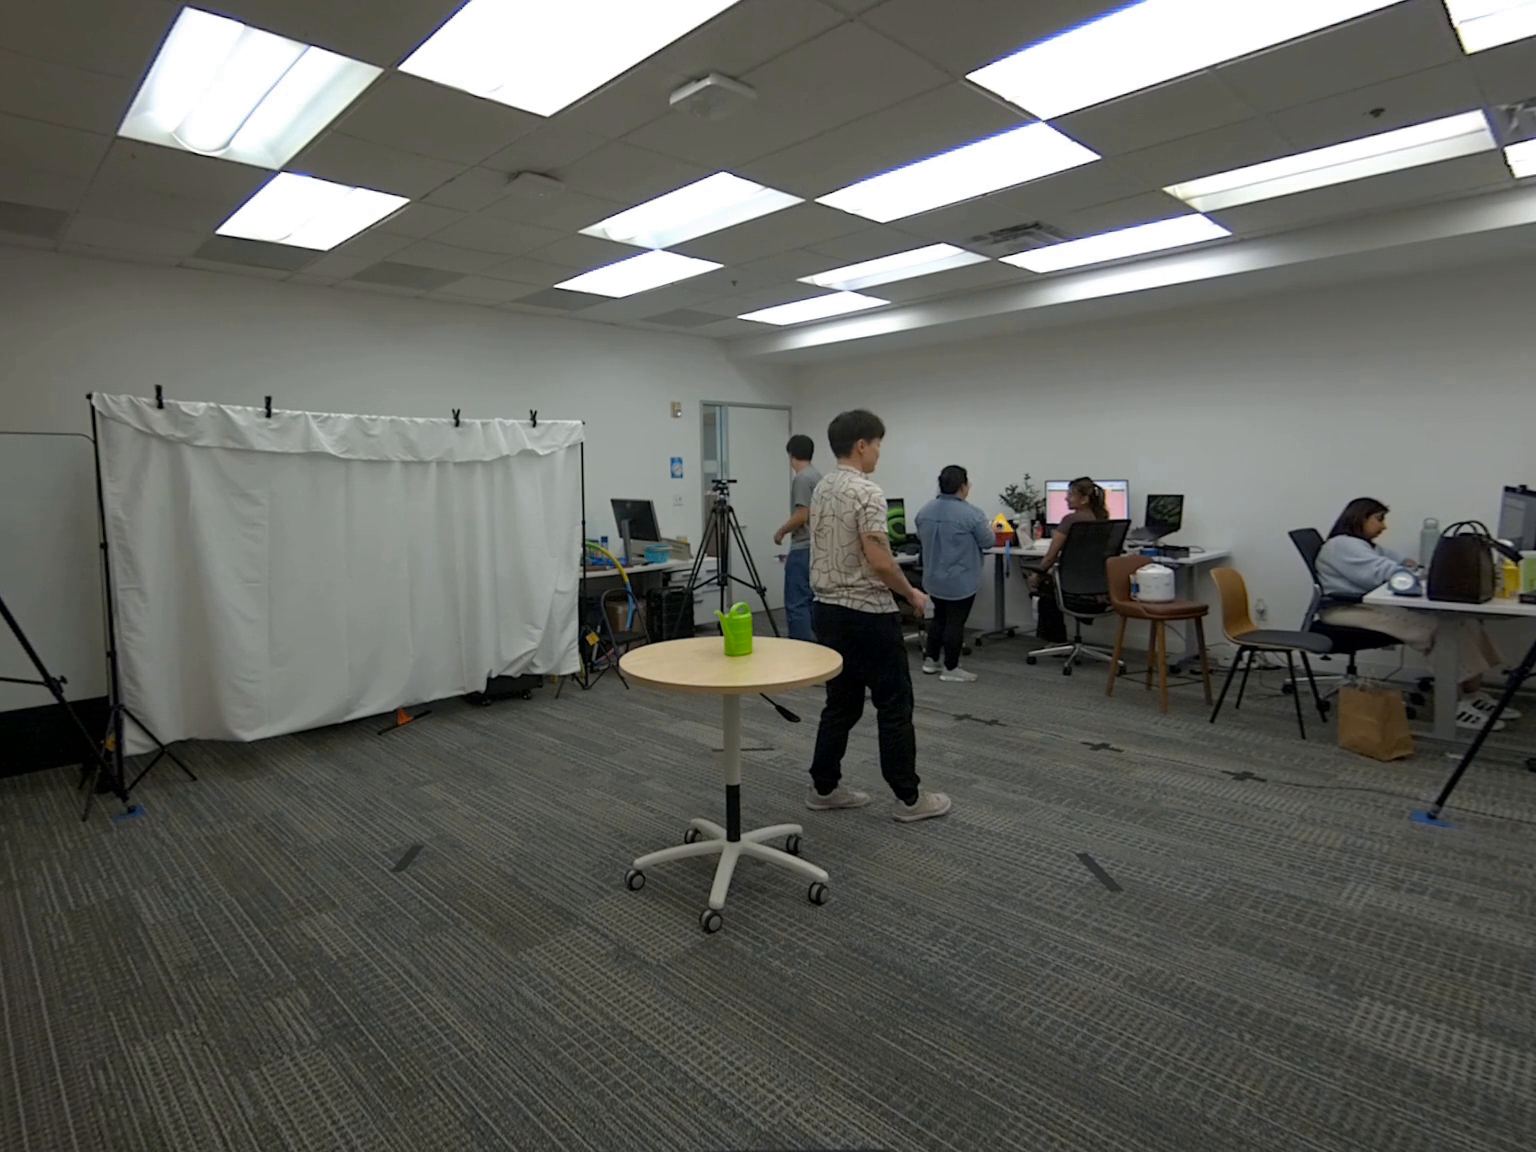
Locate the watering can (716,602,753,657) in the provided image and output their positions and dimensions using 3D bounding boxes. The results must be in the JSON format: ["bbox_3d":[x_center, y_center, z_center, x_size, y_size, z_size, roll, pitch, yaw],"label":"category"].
[{"bbox_3d":[-0.126,0.190,2.989,0.100,0.176,0.272,0,4,32],"label":"watering can"}]
